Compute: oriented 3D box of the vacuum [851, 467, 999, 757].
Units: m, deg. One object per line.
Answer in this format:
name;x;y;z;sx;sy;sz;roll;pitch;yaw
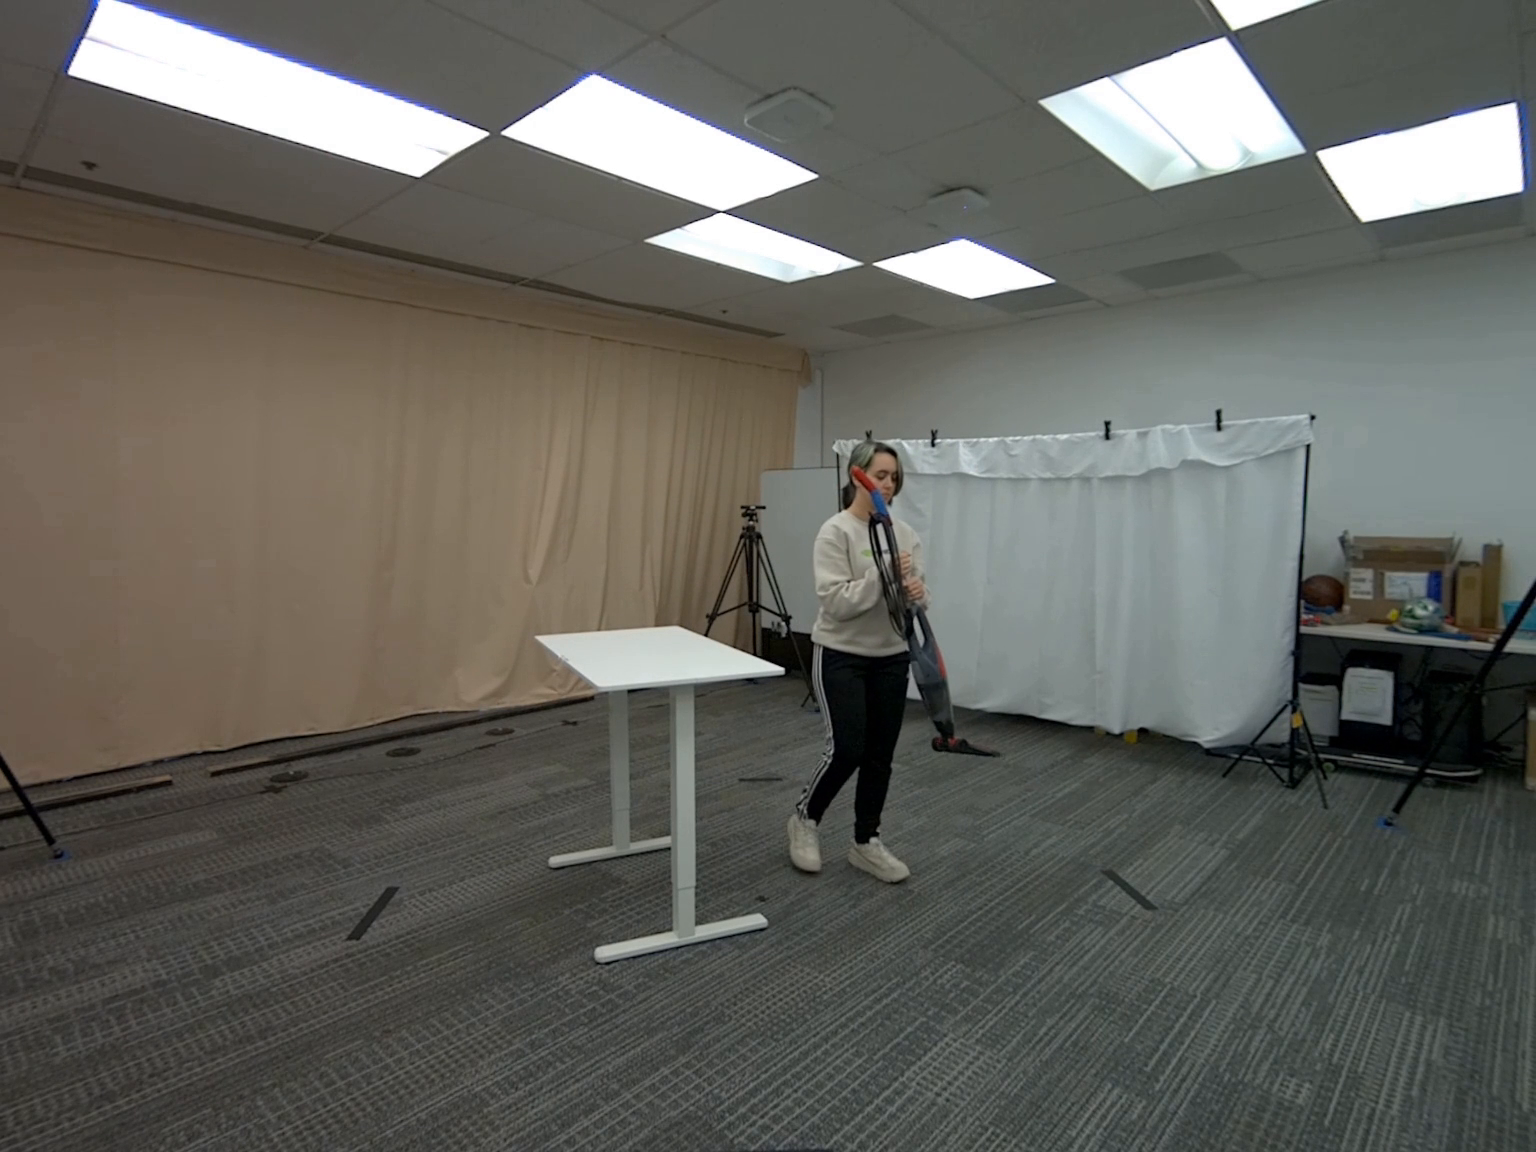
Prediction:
vacuum;0.489;0.126;2.932;0.141;1.045;0.259;-23;5;-37
